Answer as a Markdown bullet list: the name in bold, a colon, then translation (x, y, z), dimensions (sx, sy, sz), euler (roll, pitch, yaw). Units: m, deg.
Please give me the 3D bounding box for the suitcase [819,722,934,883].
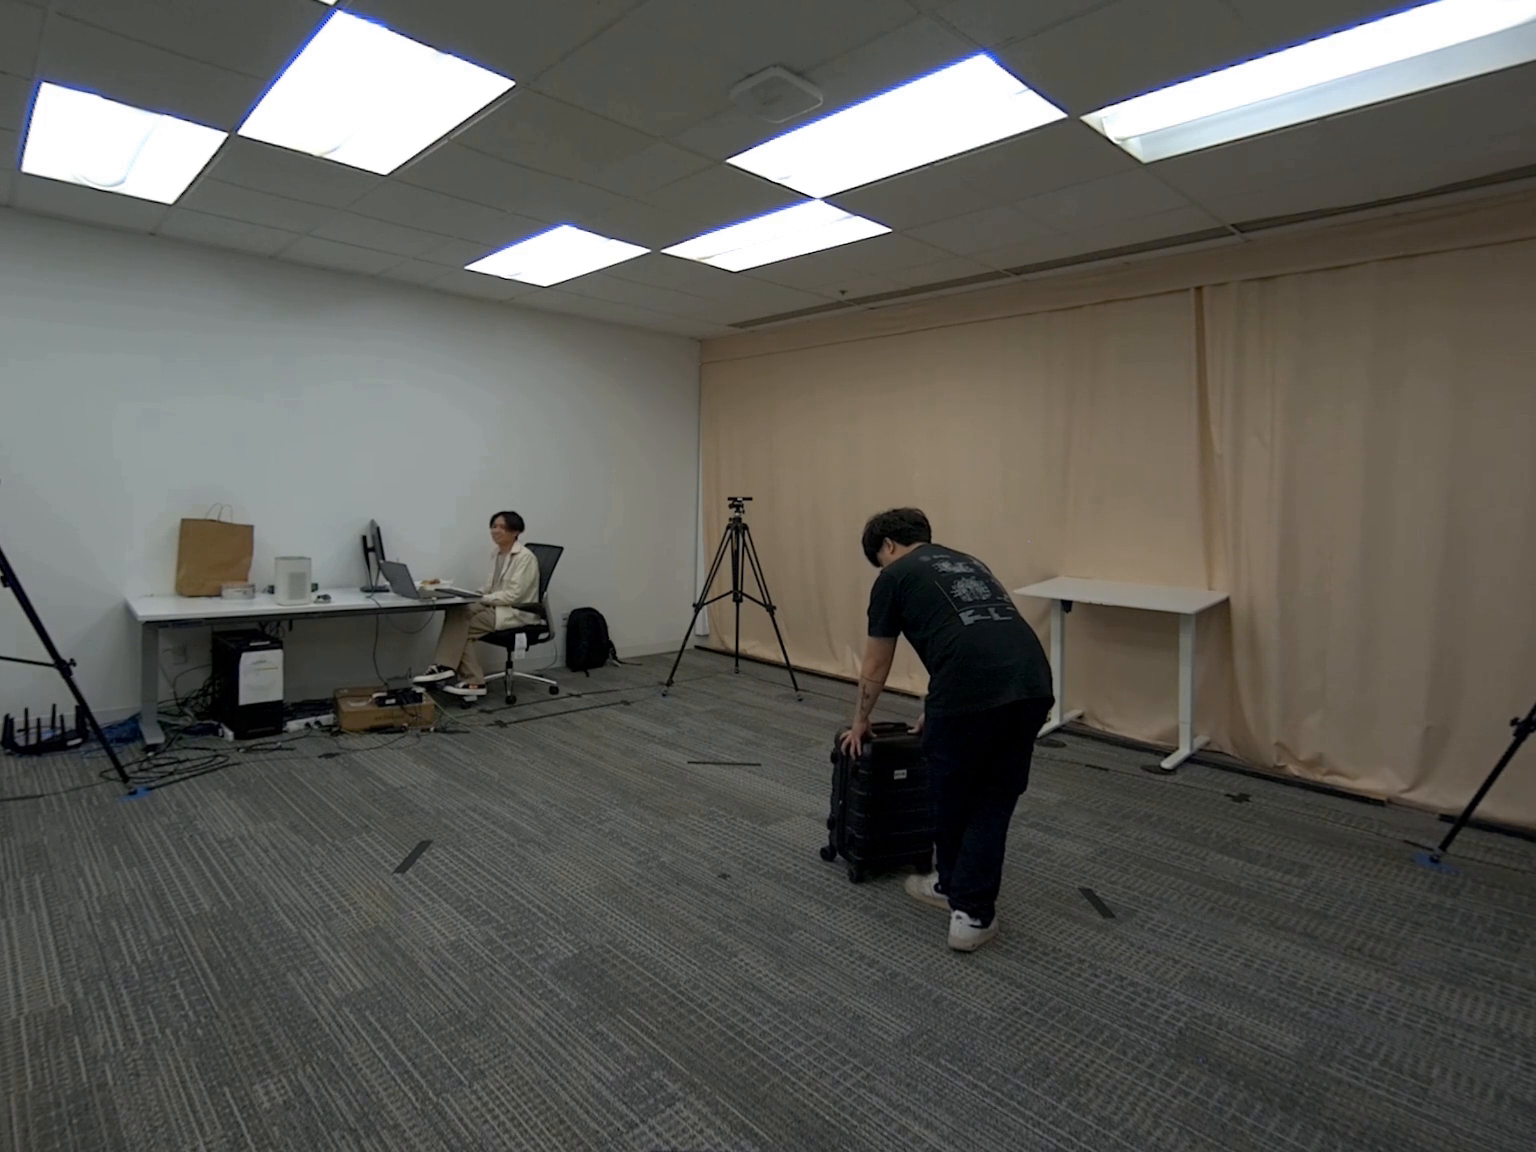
- **suitcase**: translation (0.430, 0.839, 3.191), dimensions (0.369, 0.547, 0.253), euler (1, 6, -23)
